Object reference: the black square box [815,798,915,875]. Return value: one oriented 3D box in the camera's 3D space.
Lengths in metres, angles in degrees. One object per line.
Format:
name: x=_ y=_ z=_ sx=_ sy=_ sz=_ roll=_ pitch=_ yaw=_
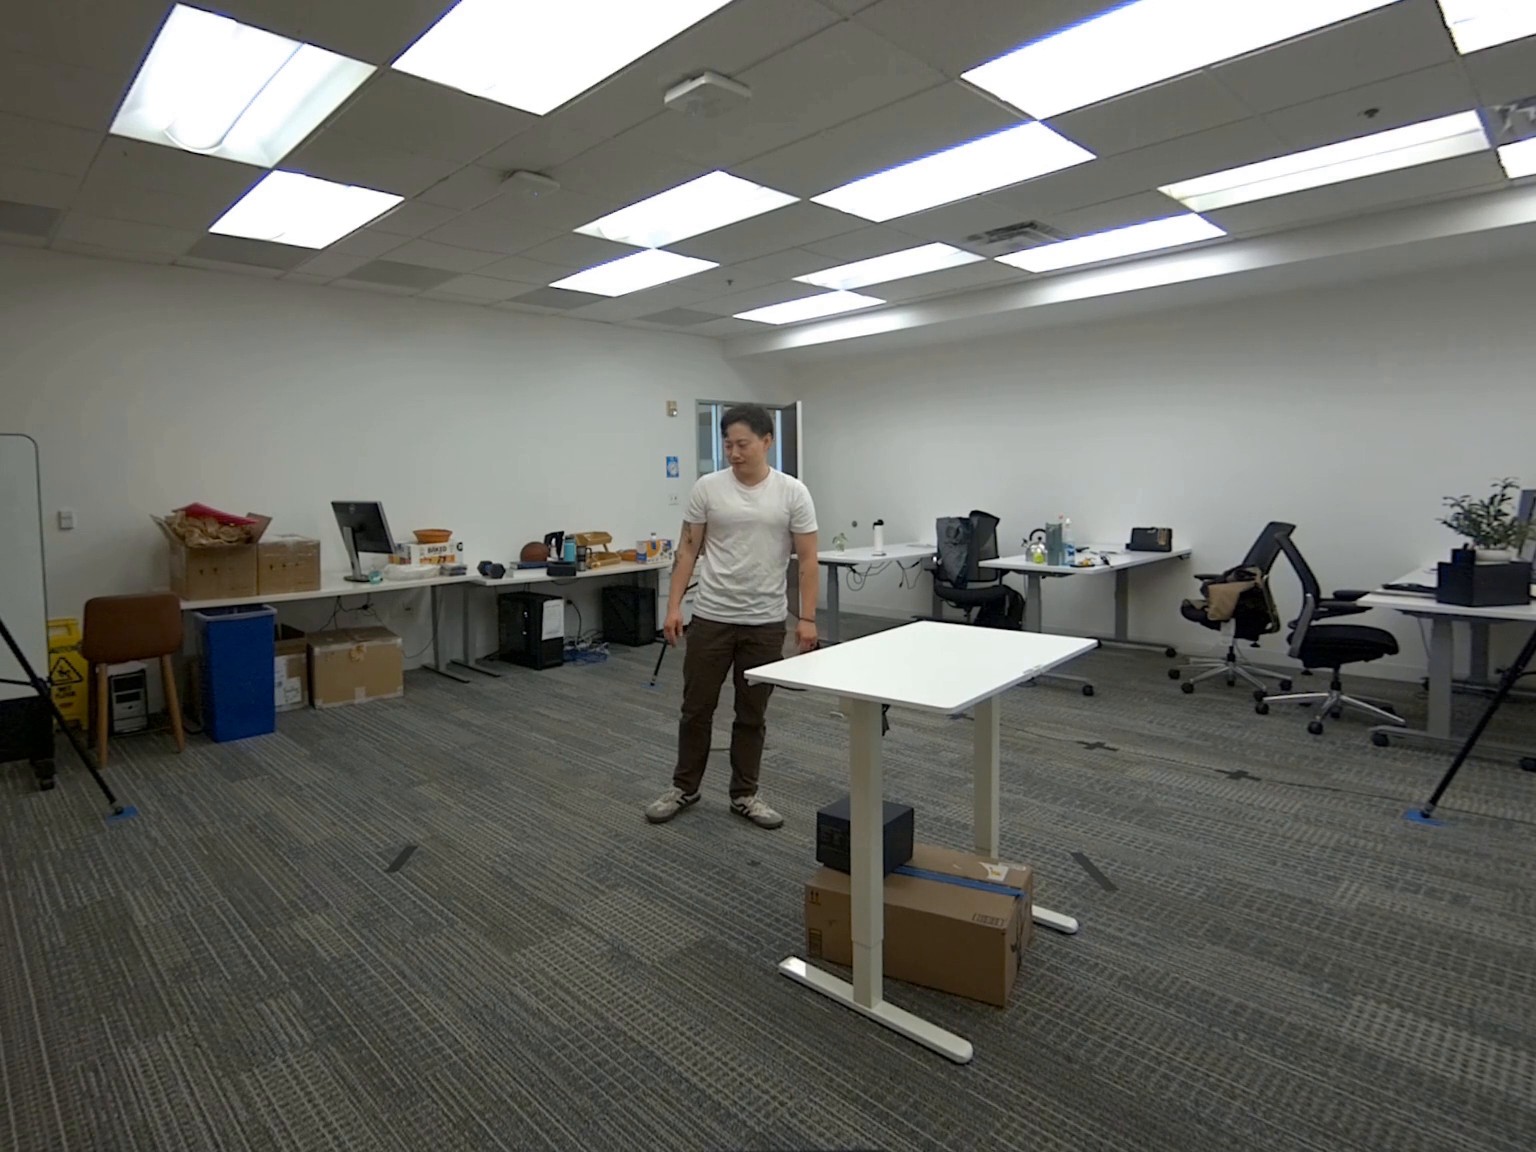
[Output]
black square box: x=0.308 y=0.791 z=2.622 sx=0.223 sy=0.155 sz=0.222 roll=3 pitch=5 yaw=37
